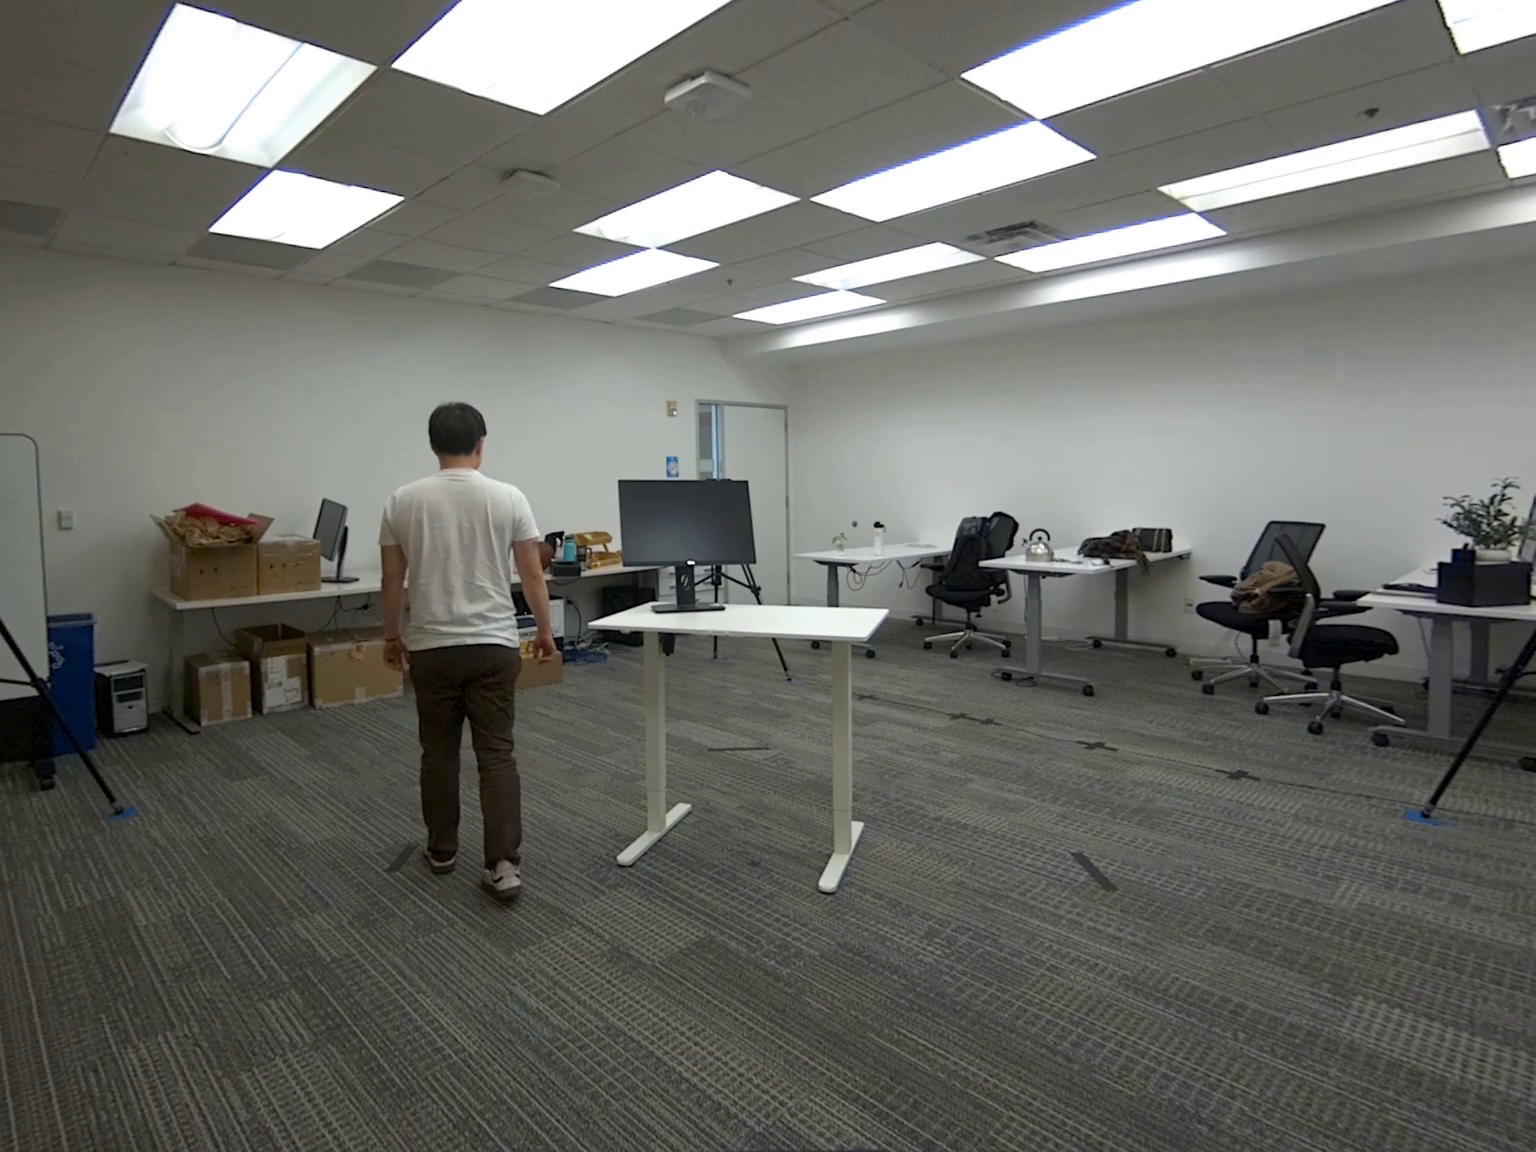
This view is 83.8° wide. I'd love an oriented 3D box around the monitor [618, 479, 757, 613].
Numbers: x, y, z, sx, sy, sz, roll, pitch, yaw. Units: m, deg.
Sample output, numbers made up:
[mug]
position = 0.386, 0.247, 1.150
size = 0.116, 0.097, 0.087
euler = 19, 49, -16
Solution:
[monitor]
position = -0.329, -0.123, 3.410
size = 0.530, 0.522, 0.190
euler = -1, 1, -19
